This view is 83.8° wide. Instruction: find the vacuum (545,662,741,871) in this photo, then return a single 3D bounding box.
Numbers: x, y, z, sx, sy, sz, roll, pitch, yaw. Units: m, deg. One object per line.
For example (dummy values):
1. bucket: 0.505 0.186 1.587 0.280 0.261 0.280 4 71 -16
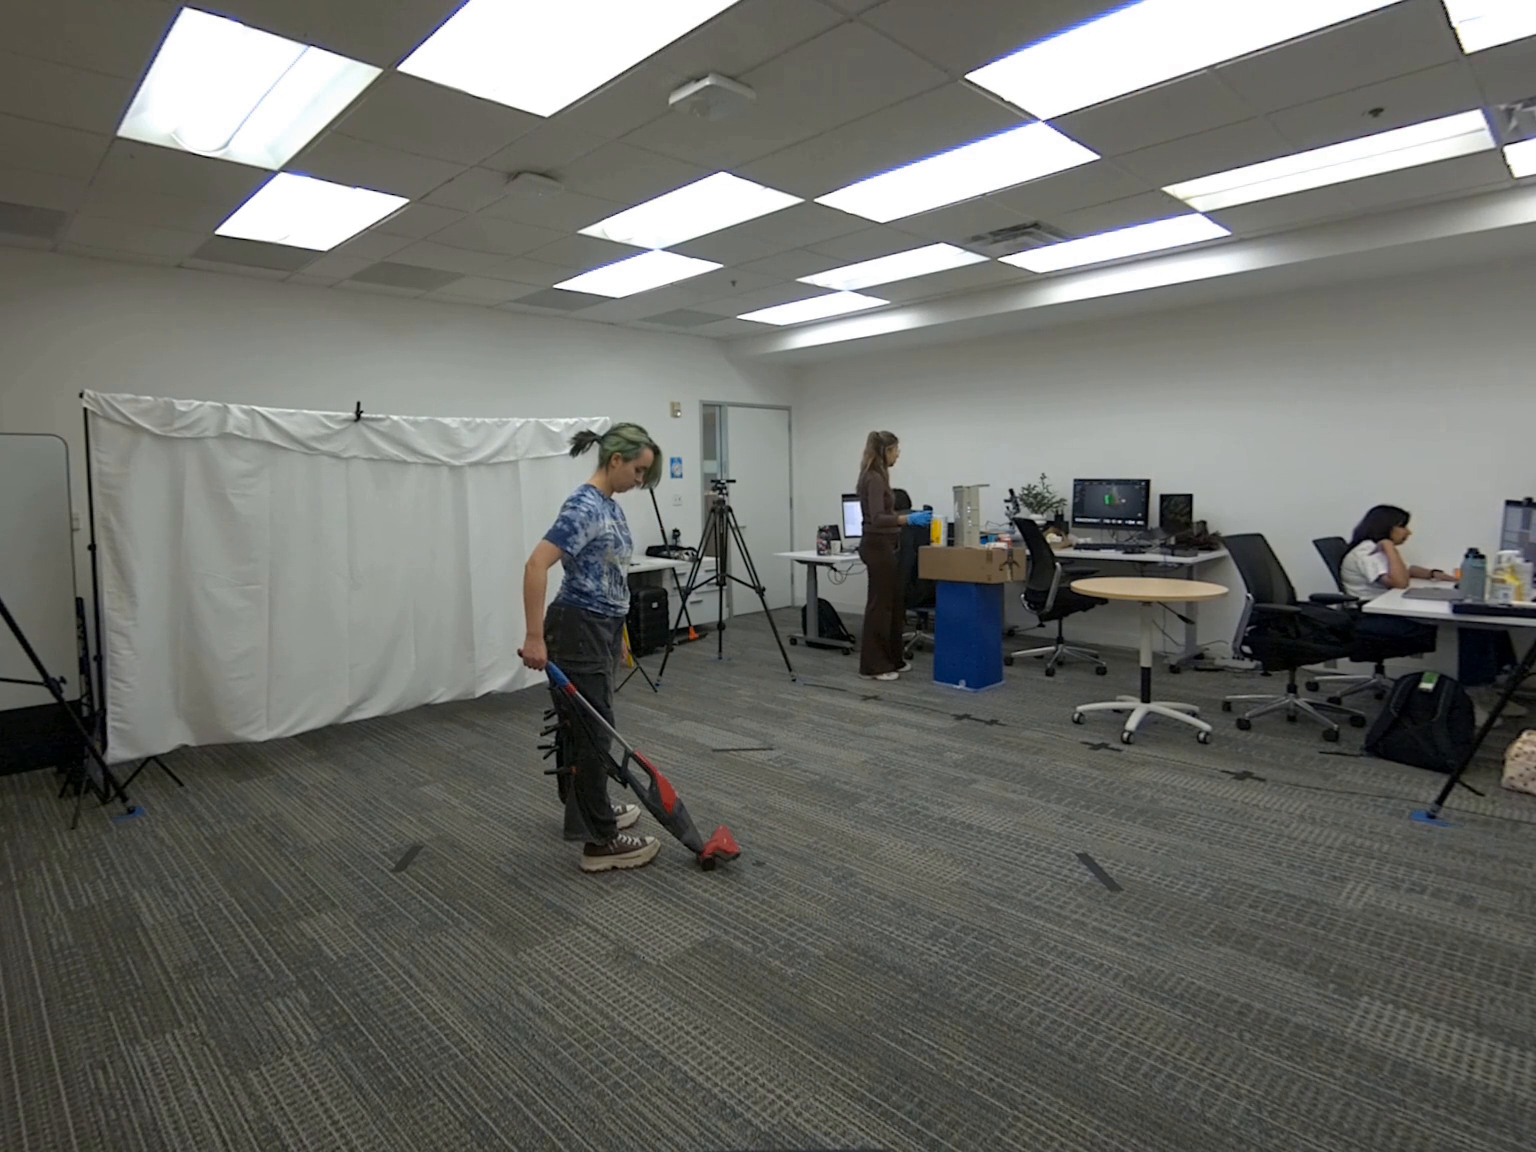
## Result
1. vacuum: -0.515 0.647 3.033 0.144 1.034 0.256 -44 11 -5
